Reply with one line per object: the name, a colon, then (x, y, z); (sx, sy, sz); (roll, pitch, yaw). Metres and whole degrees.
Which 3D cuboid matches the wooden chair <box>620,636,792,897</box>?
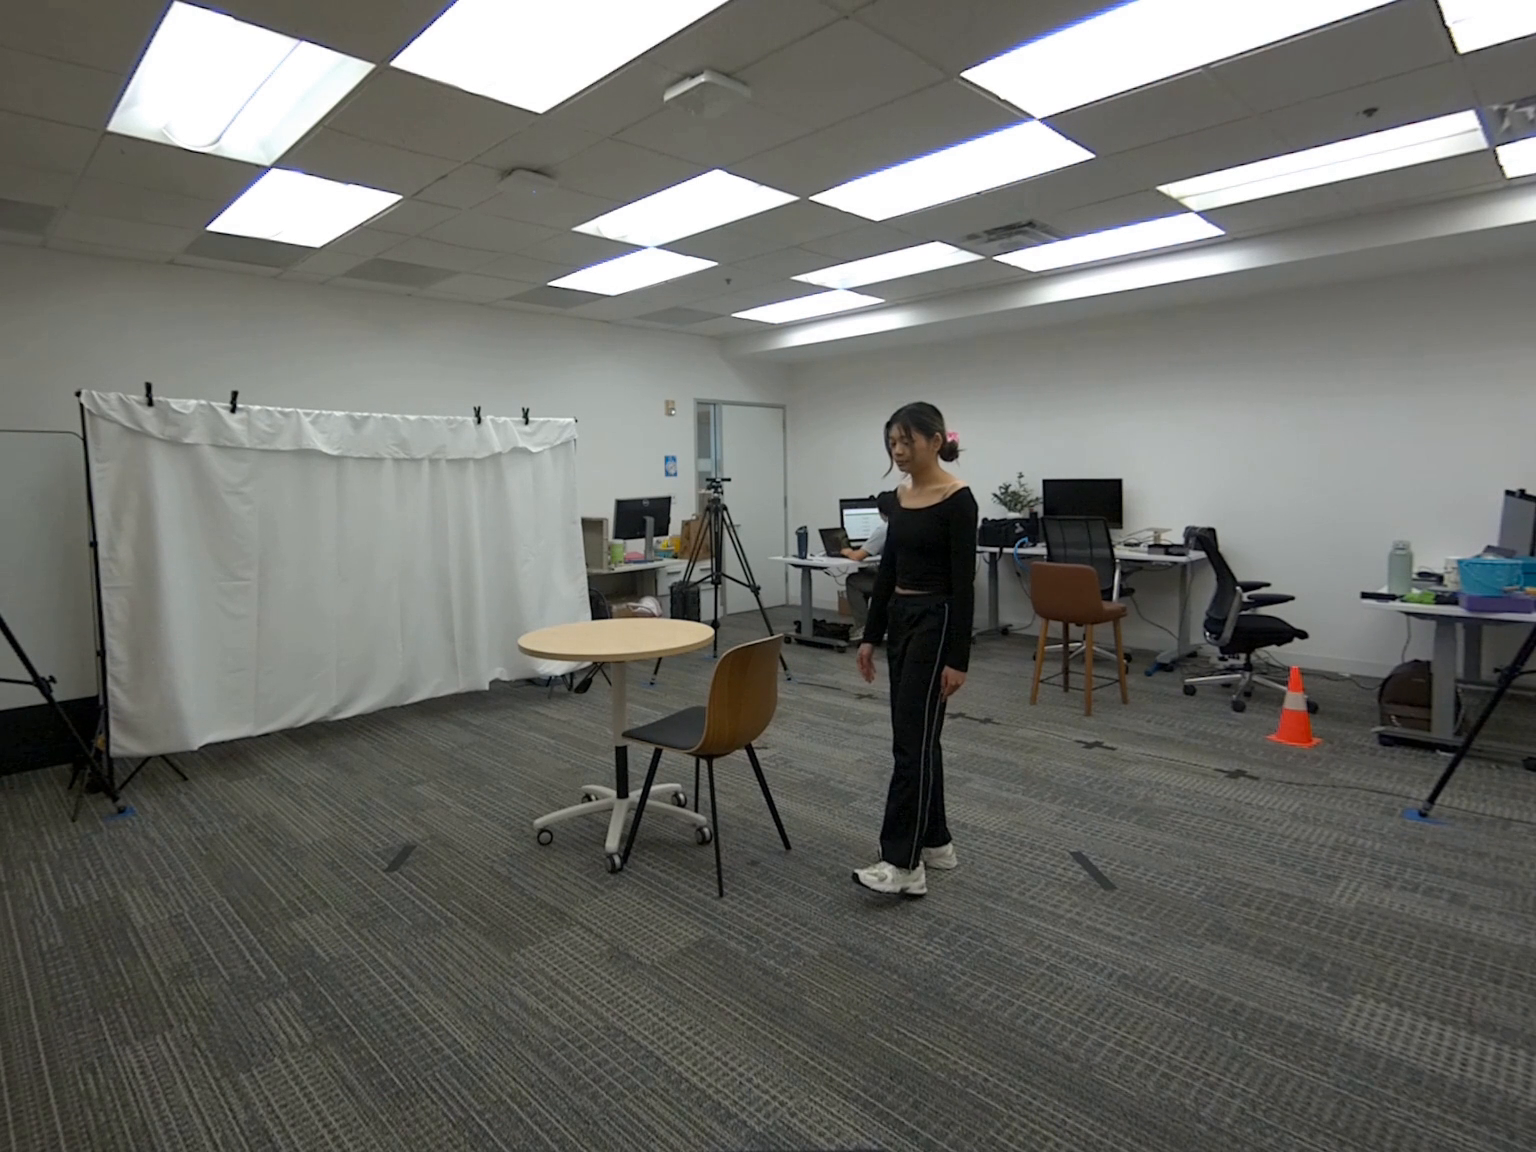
wooden chair: (-0.234, 0.611, 3.128); (0.539, 0.872, 0.467); (8, 9, 34)
